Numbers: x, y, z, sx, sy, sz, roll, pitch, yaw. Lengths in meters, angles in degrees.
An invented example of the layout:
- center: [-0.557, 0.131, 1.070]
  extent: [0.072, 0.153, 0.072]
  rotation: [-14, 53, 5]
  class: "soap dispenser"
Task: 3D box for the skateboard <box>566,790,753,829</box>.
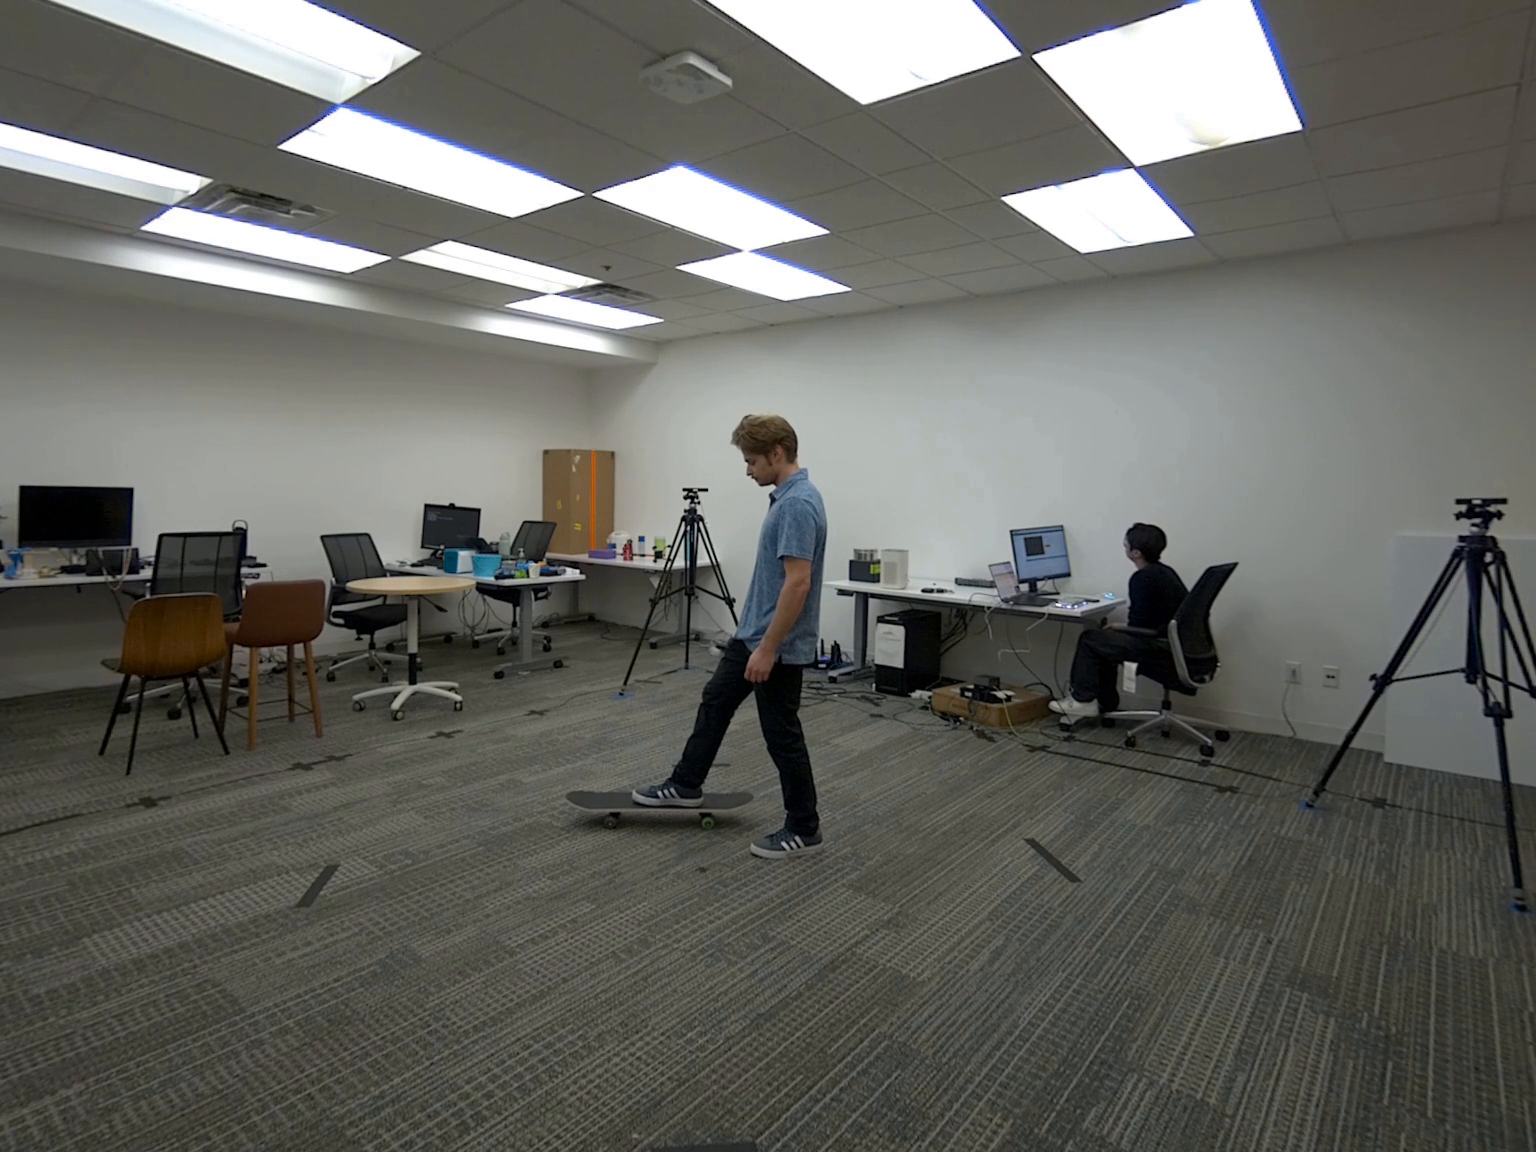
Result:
- center: [-0.455, 0.961, 3.543]
  extent: [0.784, 0.110, 0.195]
  rotation: [1, 6, -2]
  class: "skateboard"
